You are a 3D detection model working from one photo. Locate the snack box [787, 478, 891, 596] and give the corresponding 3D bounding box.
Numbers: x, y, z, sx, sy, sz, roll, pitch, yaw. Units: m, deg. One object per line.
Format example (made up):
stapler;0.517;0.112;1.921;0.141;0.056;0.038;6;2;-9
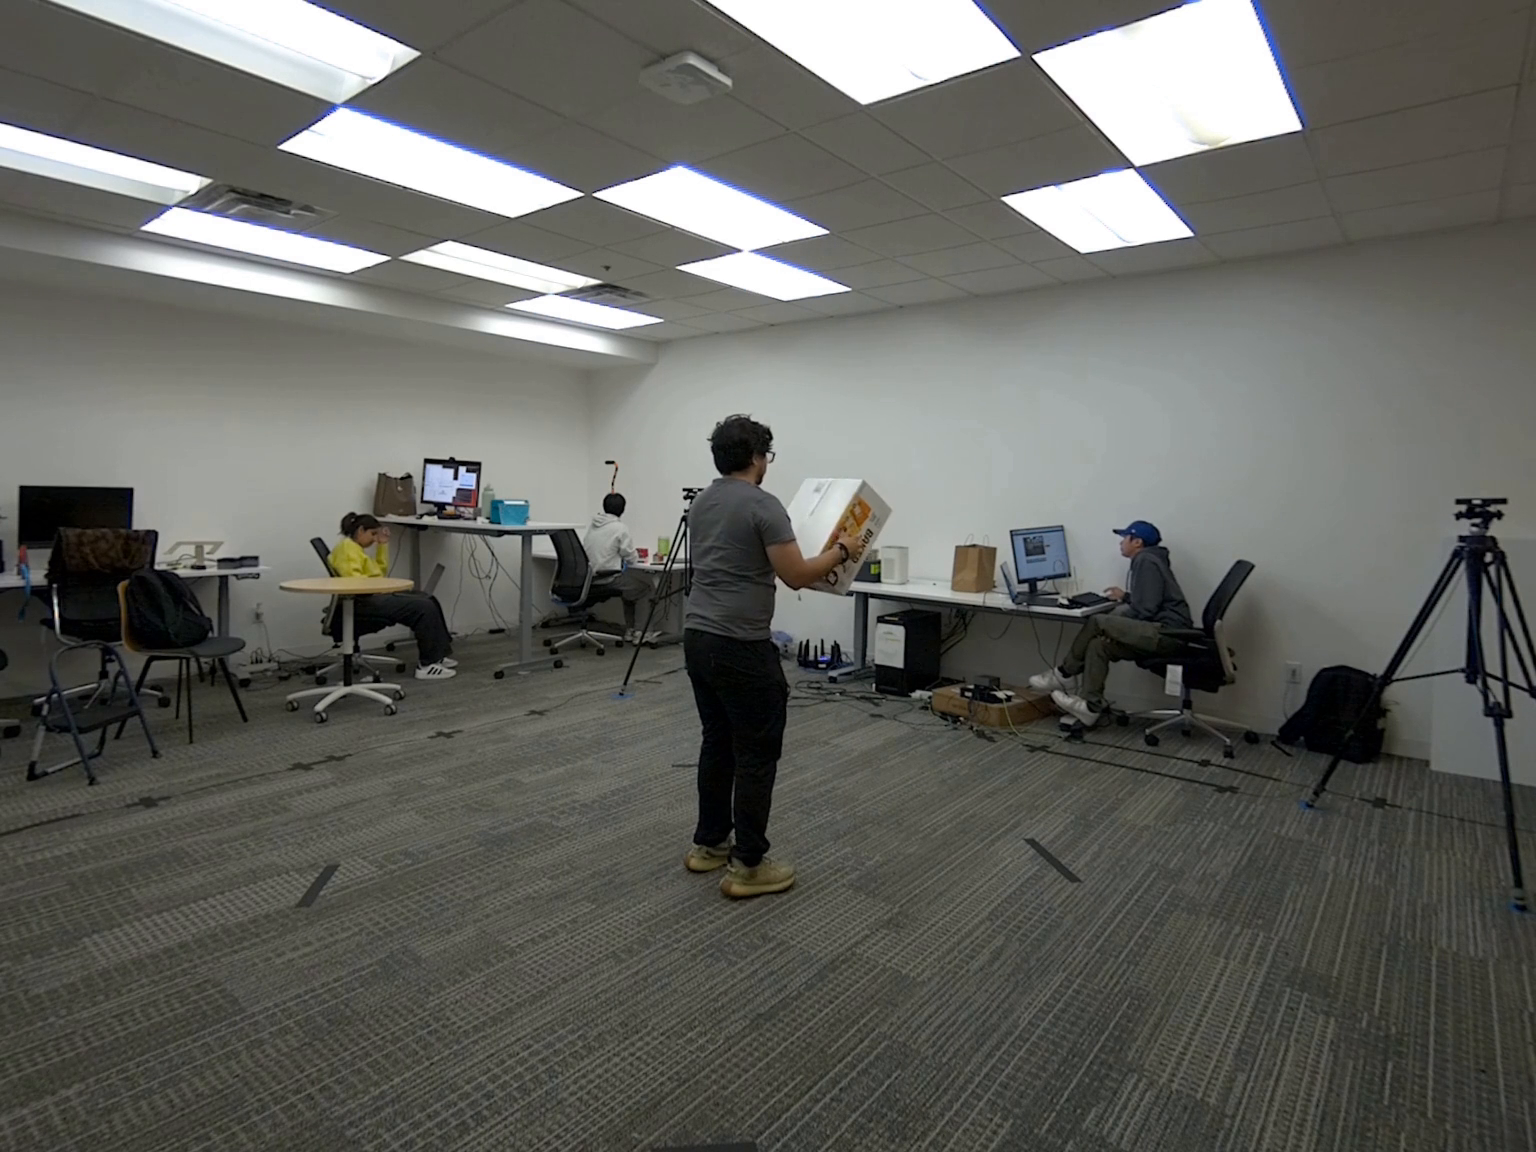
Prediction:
snack box;0.212;-0.161;3.339;0.198;0.407;0.352;41;-18;-33
